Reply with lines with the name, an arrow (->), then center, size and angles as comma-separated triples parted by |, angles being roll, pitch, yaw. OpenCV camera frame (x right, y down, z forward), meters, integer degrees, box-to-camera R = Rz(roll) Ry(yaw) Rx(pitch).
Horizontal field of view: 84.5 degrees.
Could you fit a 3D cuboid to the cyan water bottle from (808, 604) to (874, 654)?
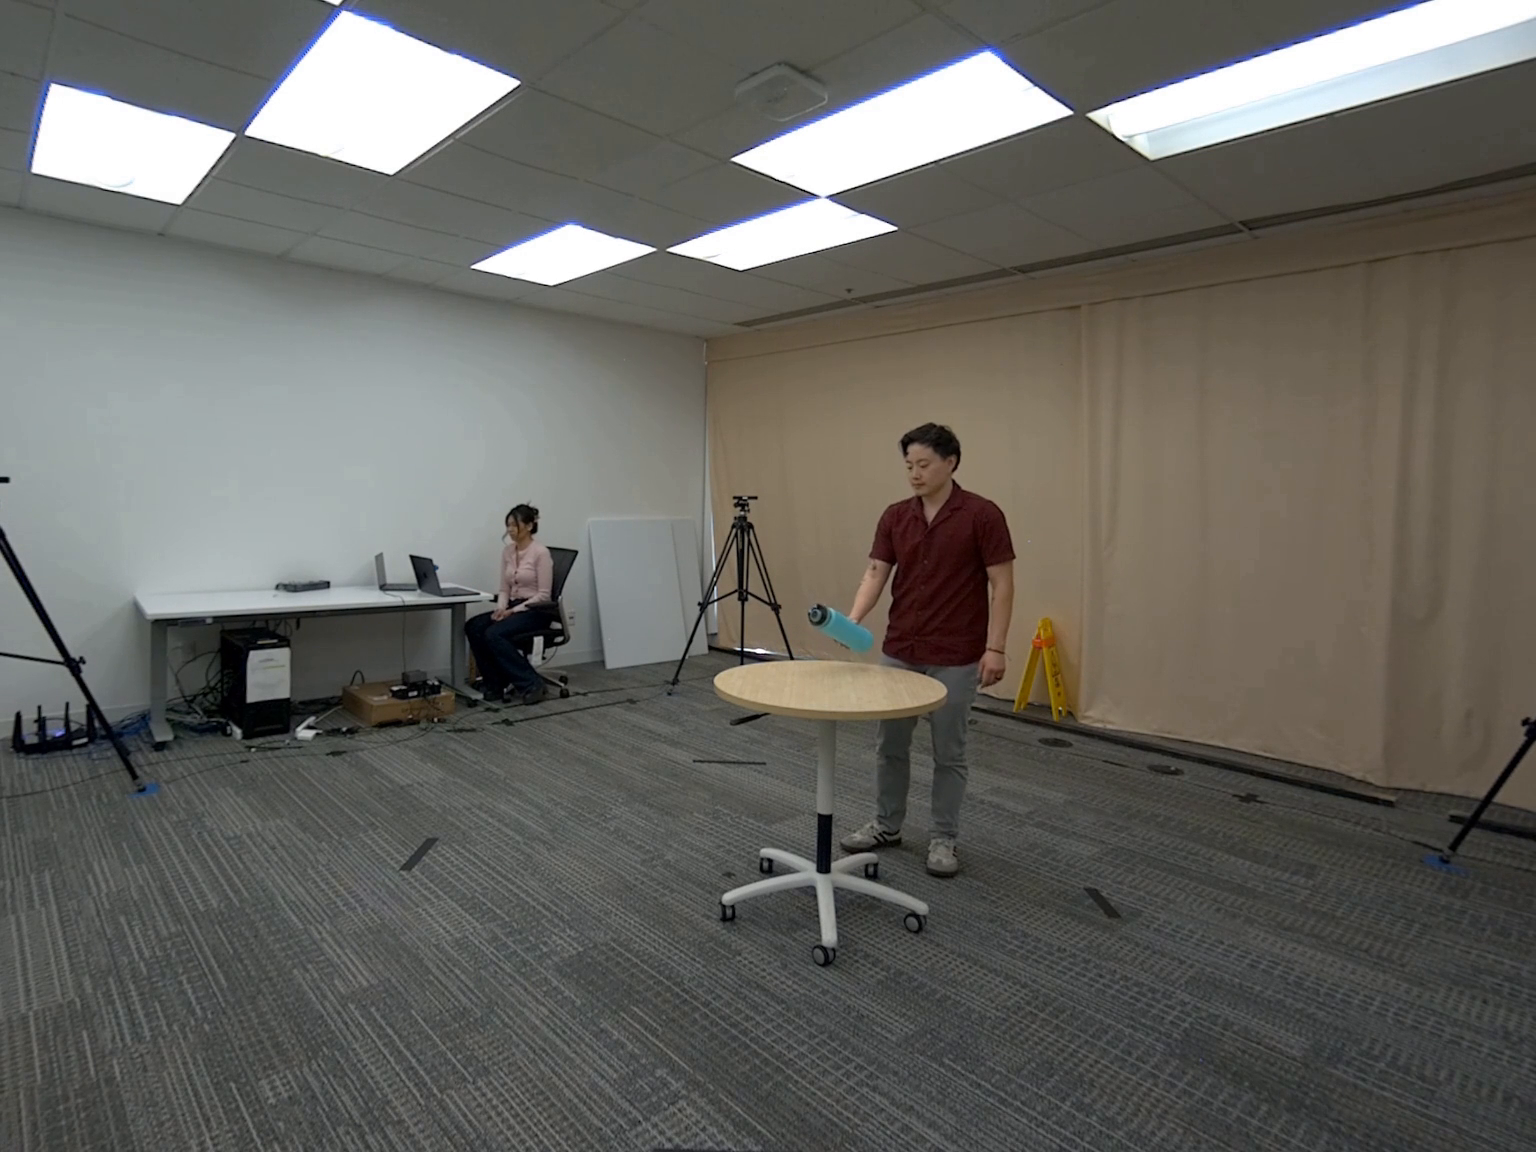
cyan water bottle -> 0.248, 0.187, 2.982 | 0.275, 0.093, 0.094 | 32, -15, -34
